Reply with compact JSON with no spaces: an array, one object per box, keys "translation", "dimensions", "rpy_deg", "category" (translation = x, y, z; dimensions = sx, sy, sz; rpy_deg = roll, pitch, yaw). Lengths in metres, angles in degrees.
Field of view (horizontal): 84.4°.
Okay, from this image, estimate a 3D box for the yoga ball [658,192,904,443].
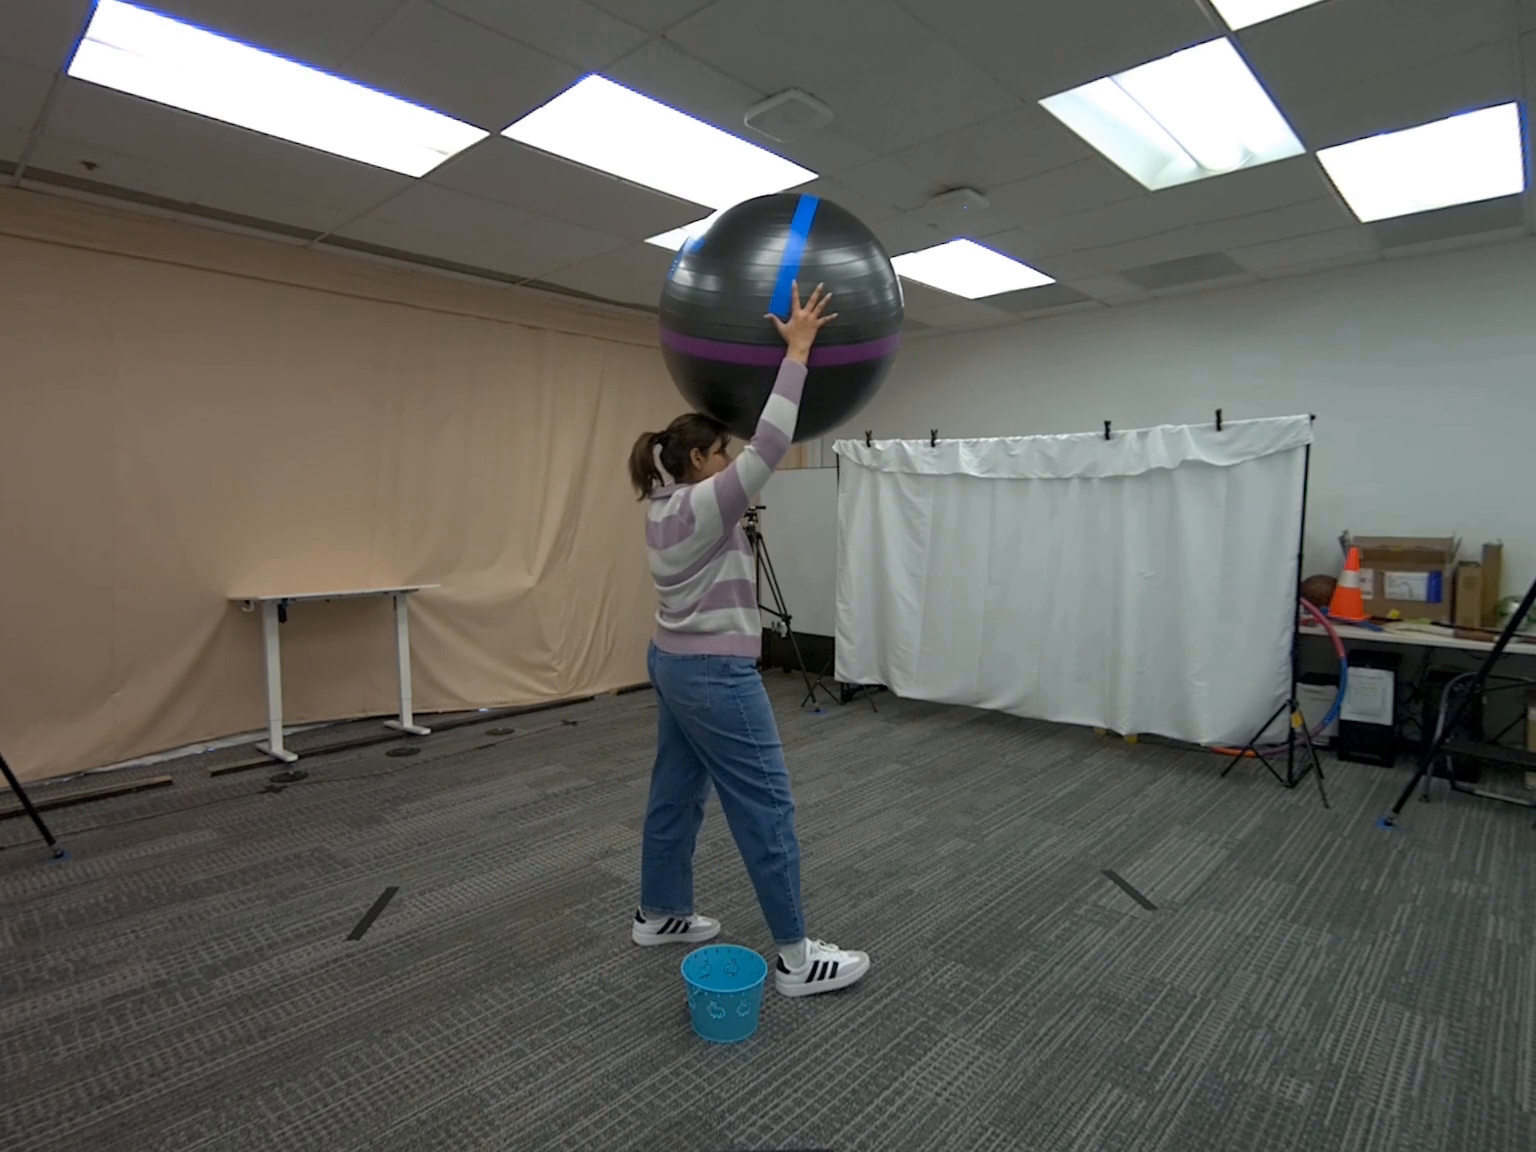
[{"translation":[0.043,-0.790,2.633],"dimensions":[0.757,0.756,0.761],"rpy_deg":[0,4,-2],"category":"yoga ball"}]
